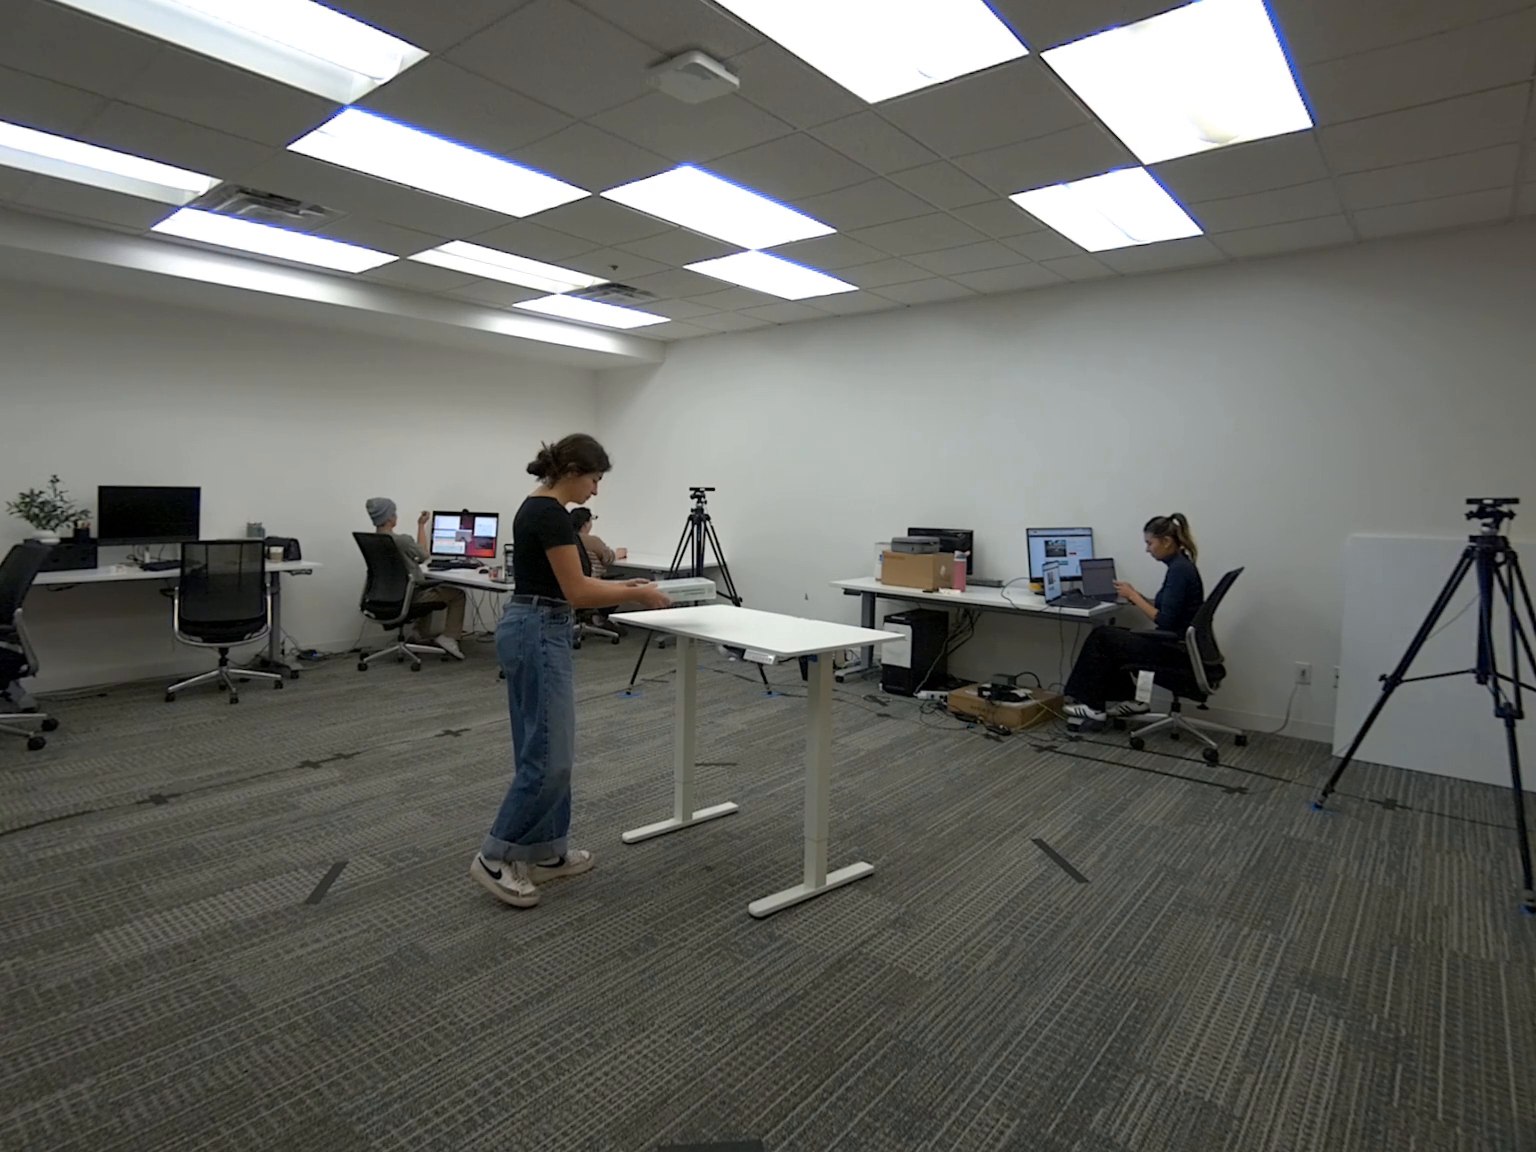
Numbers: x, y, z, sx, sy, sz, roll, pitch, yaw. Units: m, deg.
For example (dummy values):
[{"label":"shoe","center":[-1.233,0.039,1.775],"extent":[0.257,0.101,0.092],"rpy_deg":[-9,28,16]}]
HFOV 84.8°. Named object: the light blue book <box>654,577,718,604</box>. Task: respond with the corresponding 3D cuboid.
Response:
[{"label":"light blue book","center":[-0.349,0.060,3.116],"extent":[0.258,0.059,0.194],"rpy_deg":[-4,5,-13]}]
